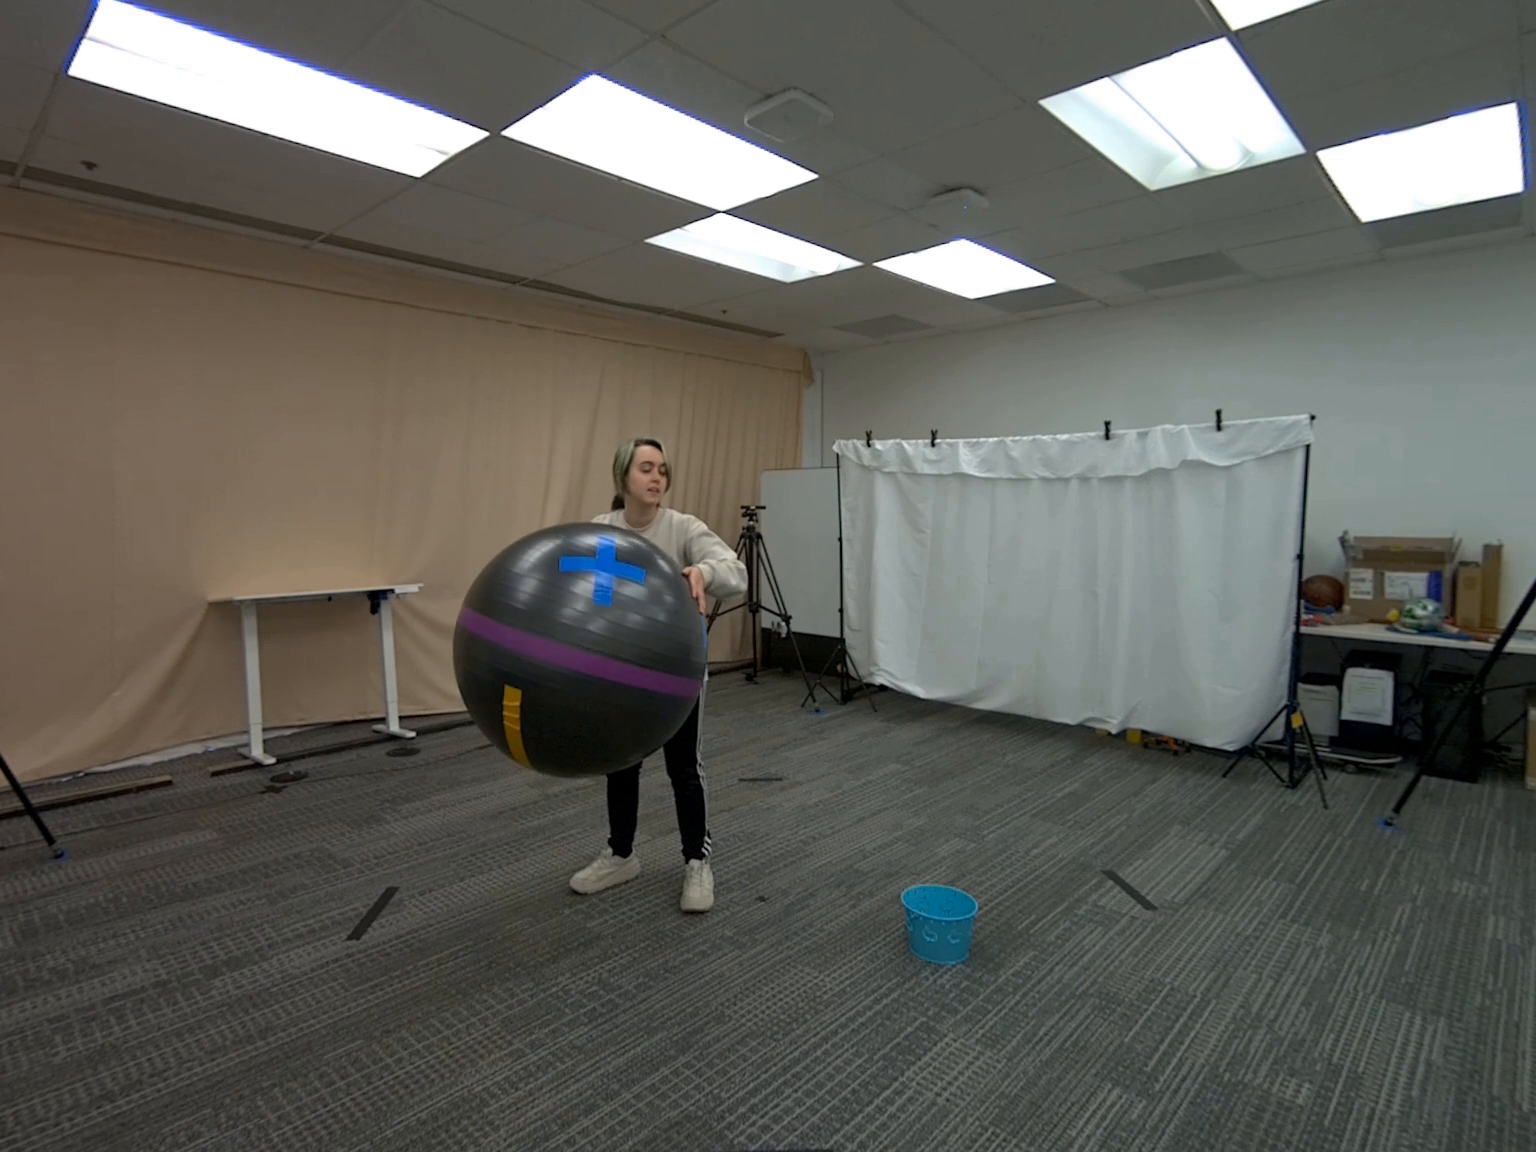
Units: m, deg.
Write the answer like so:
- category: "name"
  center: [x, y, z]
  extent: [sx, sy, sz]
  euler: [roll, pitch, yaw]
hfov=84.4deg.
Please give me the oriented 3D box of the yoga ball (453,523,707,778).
- category: "yoga ball"
  center: [-0.570, 0.233, 2.538]
  extent: [0.757, 0.756, 0.760]
  euler: [0, 4, -2]
